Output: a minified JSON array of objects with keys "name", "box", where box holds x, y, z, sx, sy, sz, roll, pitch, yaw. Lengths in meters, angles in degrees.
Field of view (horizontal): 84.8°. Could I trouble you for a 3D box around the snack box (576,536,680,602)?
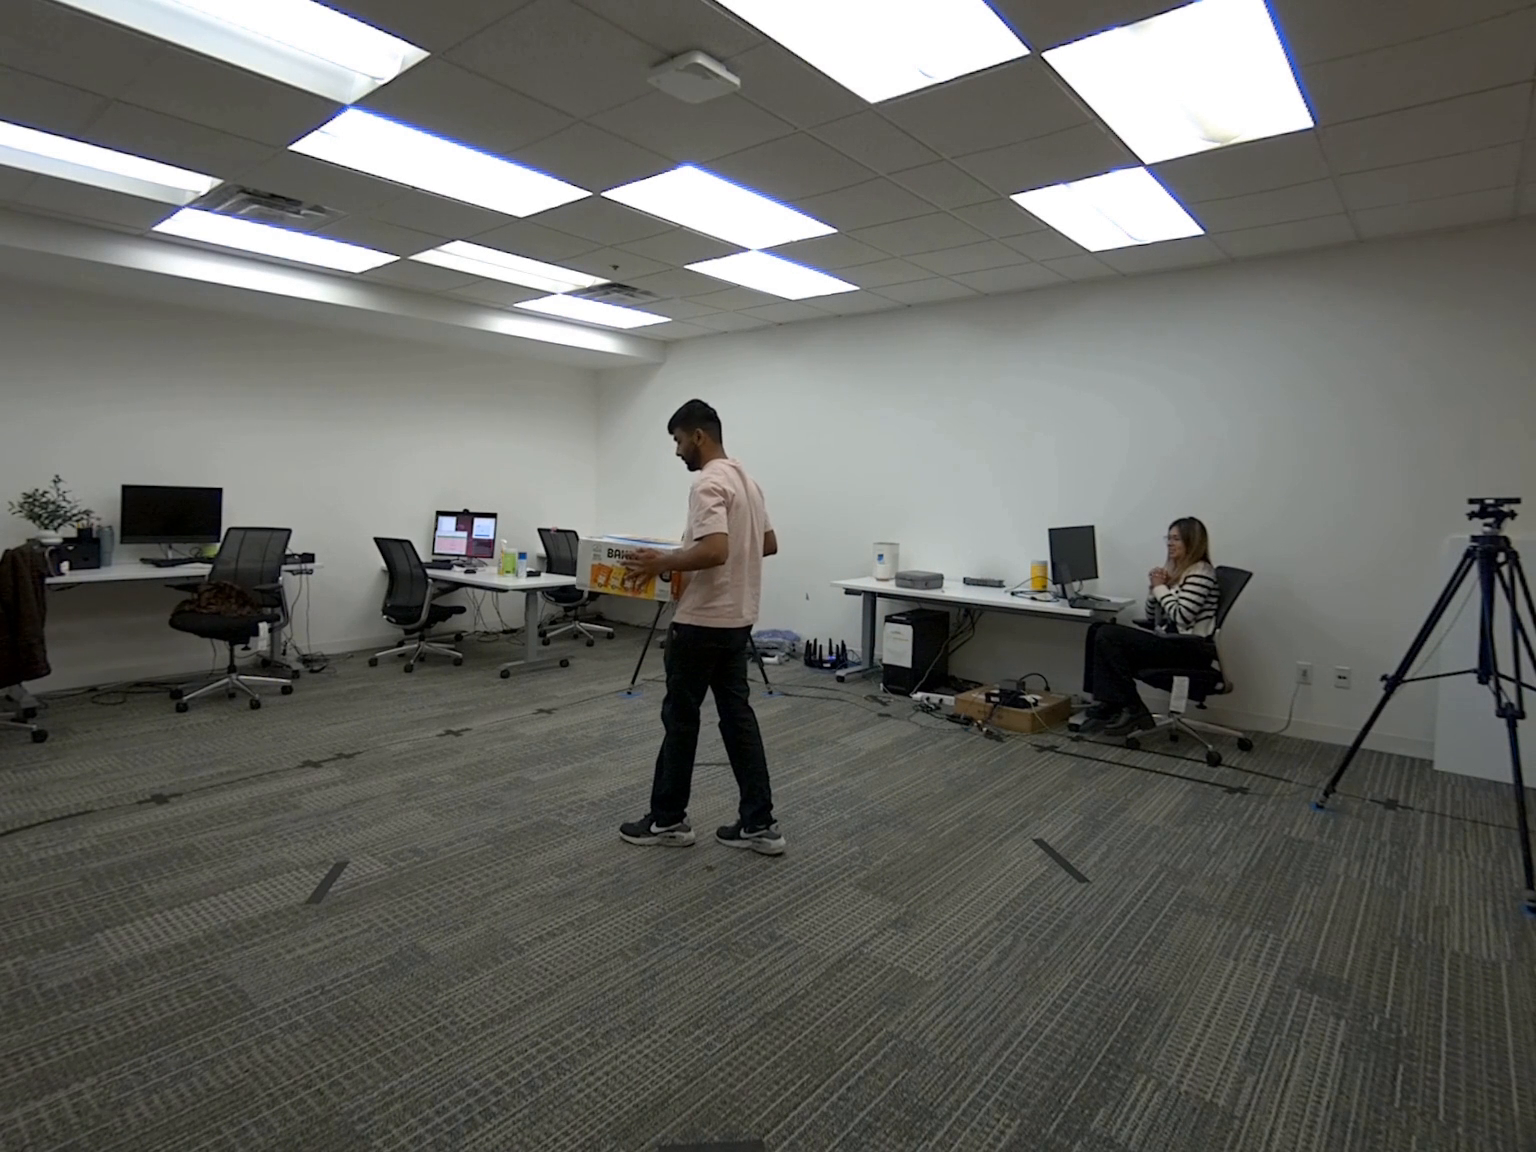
[{"name":"snack box","box":[-0.514,-0.045,3.409,0.414,0.205,0.334,7,7,19]}]
